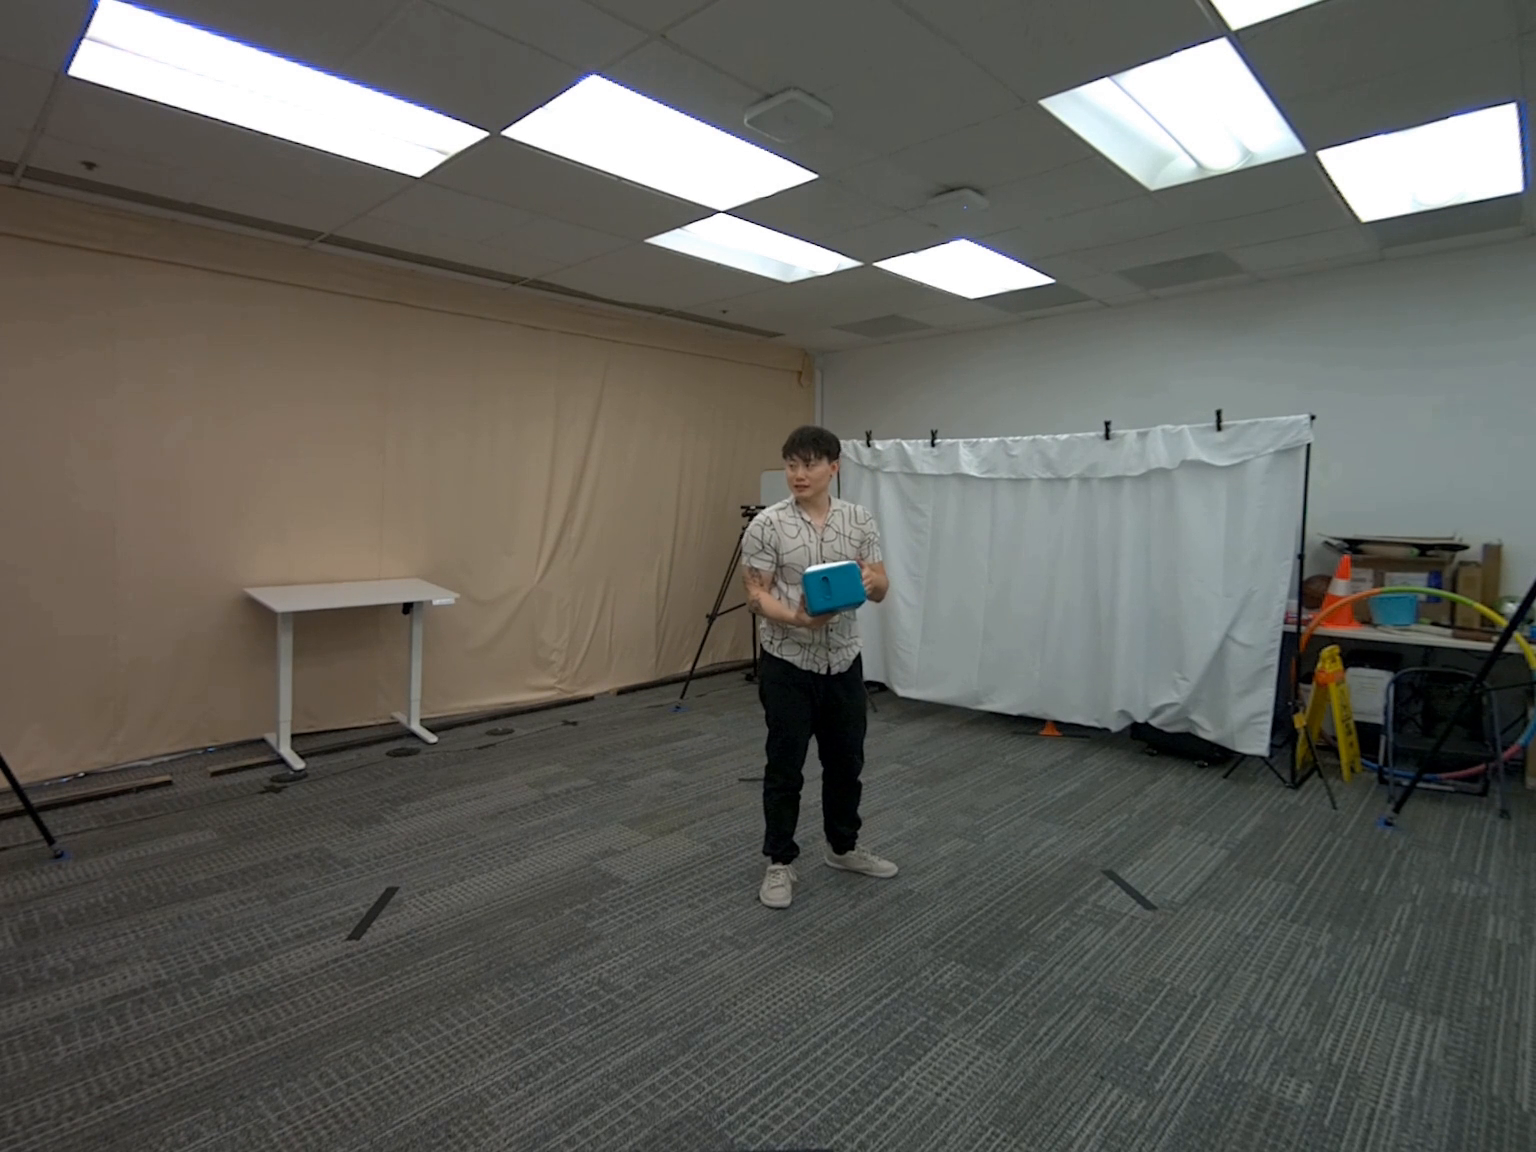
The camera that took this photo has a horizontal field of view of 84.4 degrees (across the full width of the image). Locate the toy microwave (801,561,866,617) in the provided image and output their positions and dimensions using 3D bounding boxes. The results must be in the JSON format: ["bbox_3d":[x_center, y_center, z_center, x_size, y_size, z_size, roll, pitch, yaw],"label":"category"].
[{"bbox_3d":[0.208,0.039,2.696,0.184,0.153,0.285,-10,-5,-3],"label":"toy microwave"}]
